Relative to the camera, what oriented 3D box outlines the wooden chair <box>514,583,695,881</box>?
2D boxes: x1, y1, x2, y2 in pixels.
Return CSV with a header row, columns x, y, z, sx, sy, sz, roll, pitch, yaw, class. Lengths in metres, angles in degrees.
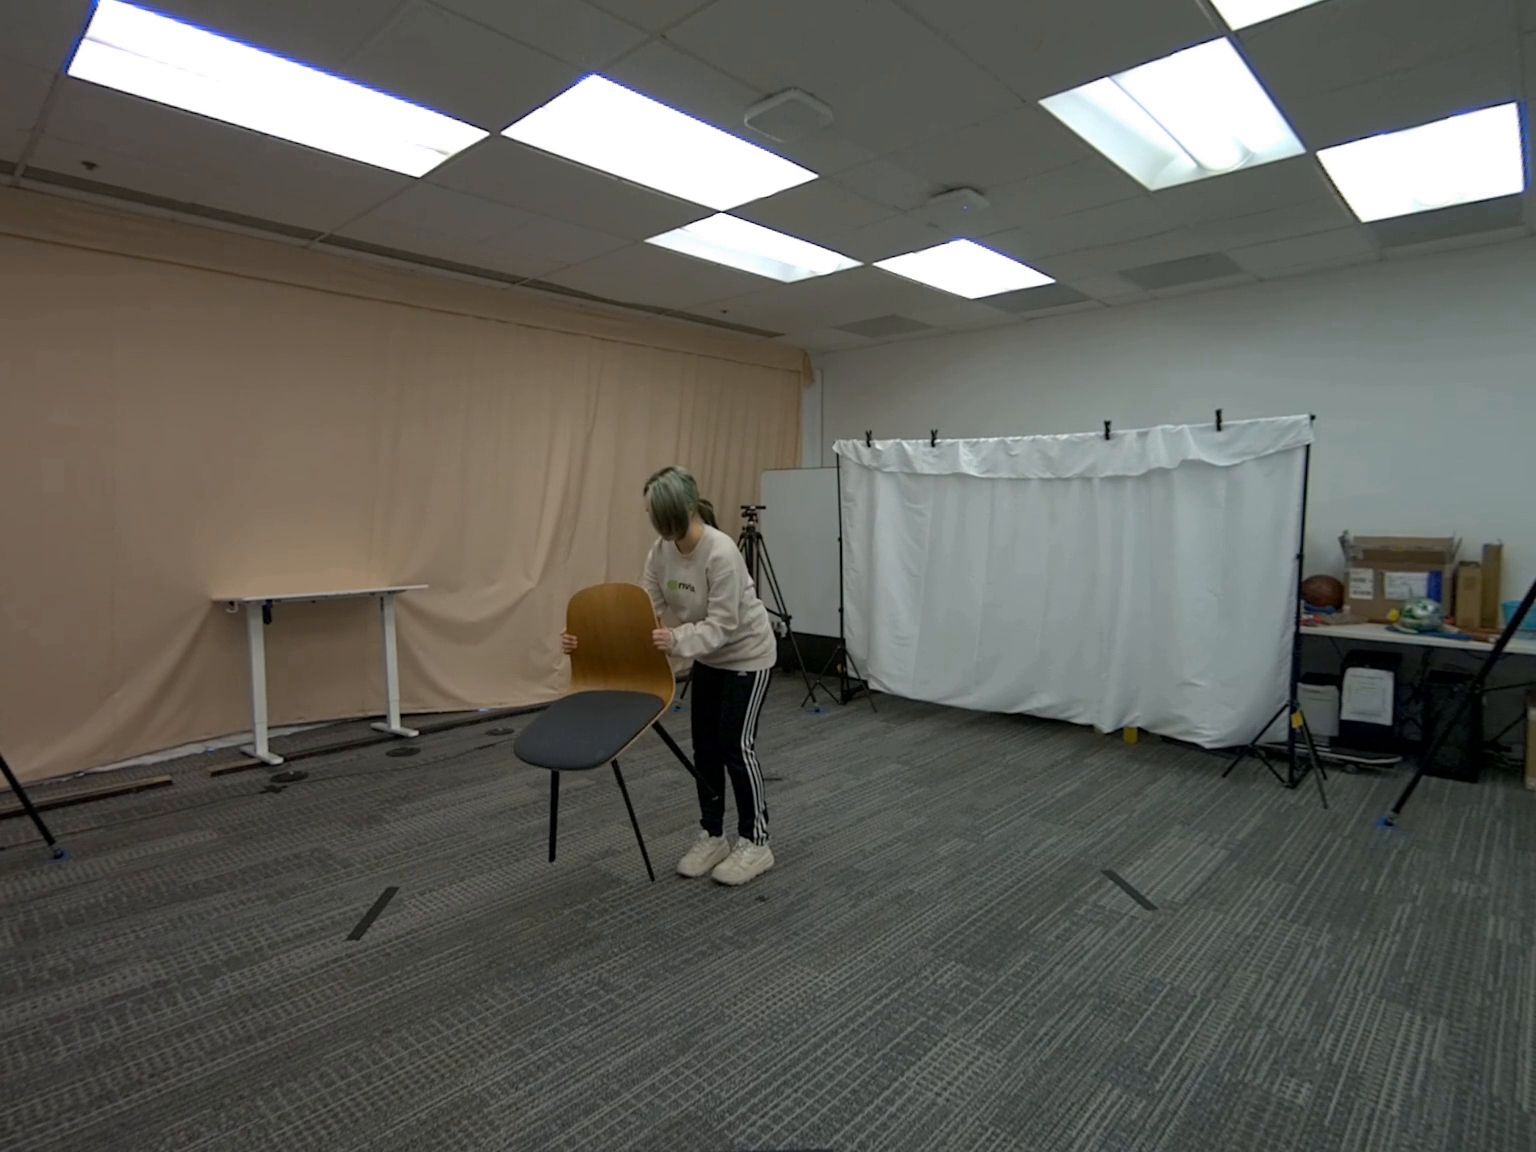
x,y,z,sx,sy,sz,roll,pitch,yaw,class
-0.565,0.529,2.885,0.491,0.867,0.515,-2,17,29,wooden chair
